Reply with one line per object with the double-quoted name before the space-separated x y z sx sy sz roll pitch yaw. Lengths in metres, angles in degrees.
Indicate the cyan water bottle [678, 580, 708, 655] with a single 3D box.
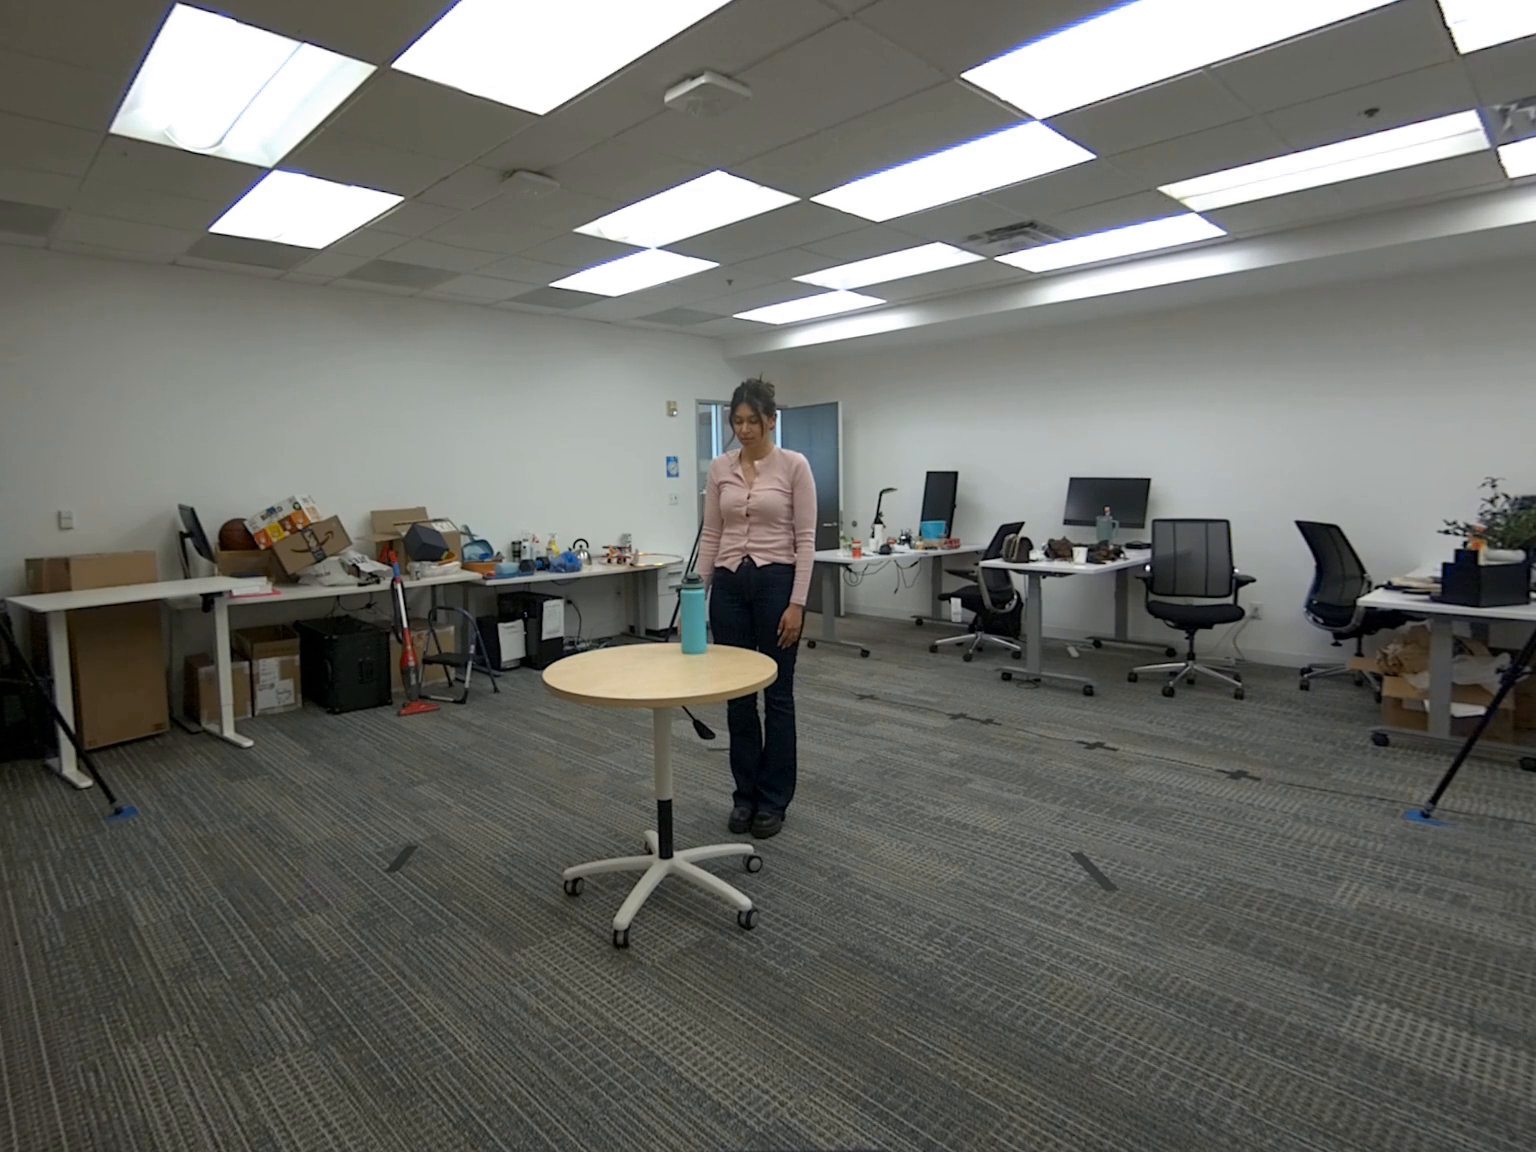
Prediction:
"cyan water bottle" -0.261 0.134 3.027 0.092 0.283 0.092 2 2 -2
